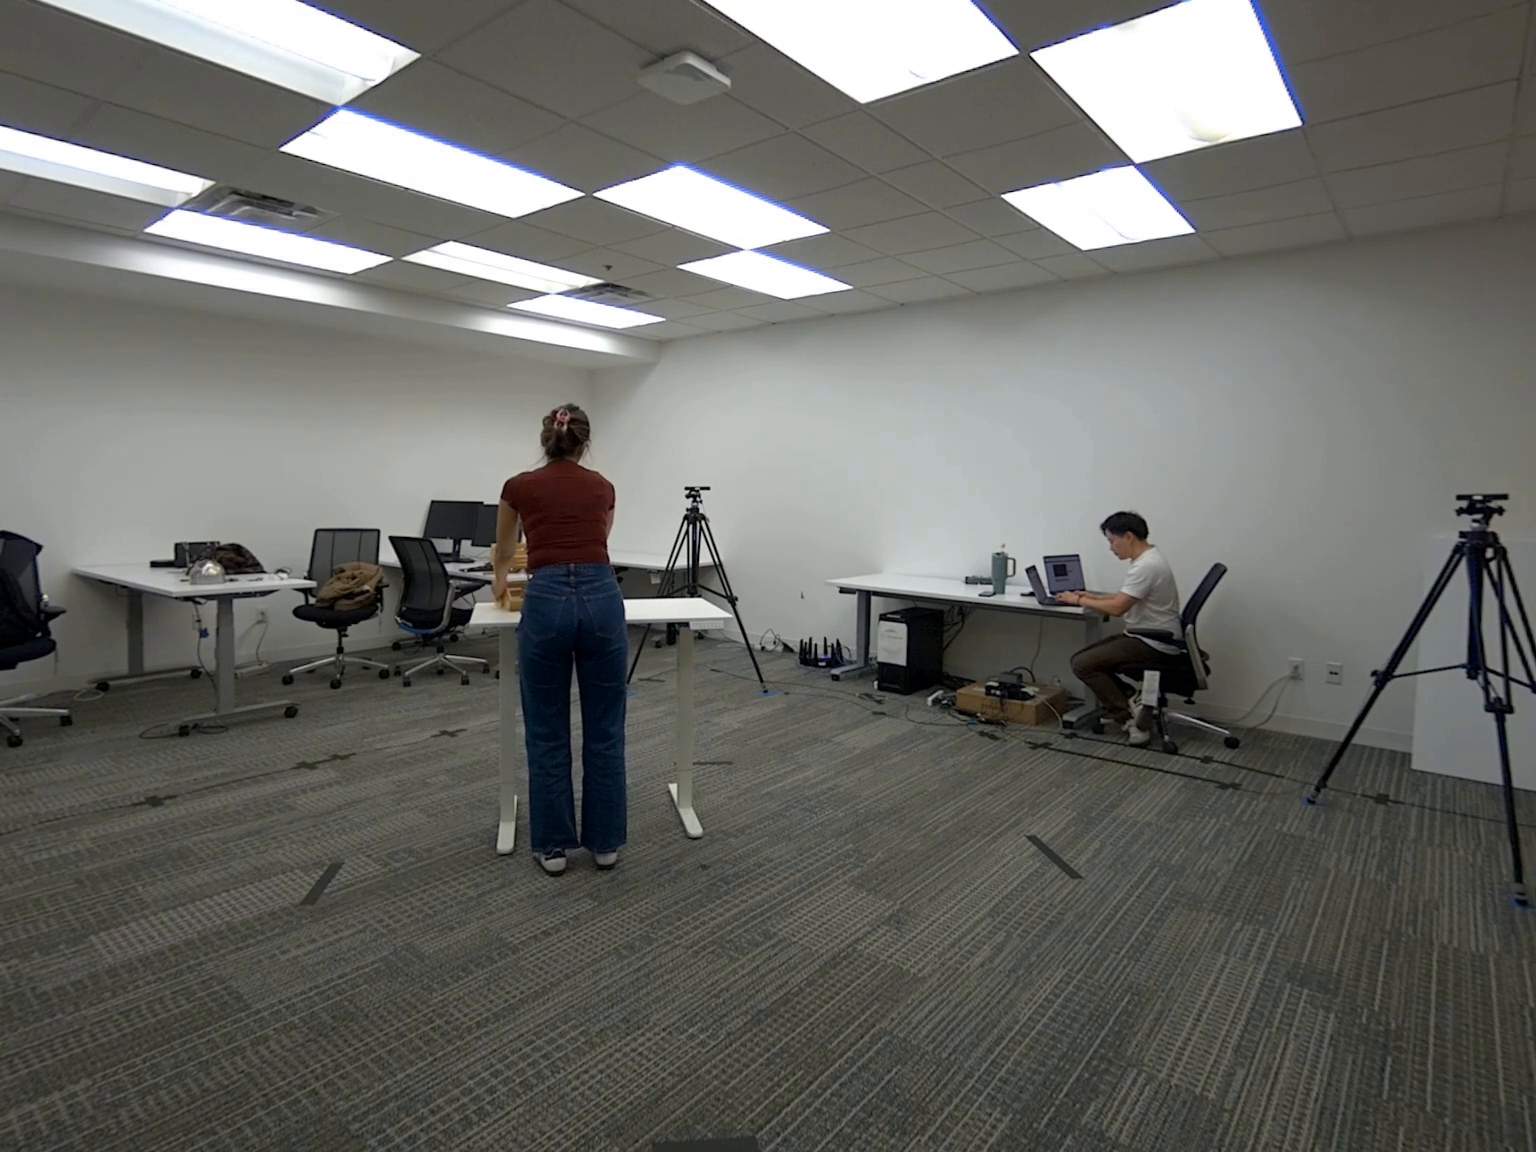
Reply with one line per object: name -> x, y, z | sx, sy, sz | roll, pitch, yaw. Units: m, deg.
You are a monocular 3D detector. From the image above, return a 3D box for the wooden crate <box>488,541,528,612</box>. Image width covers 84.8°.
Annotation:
wooden crate -> -1.003, -0.007, 3.620 | 0.316, 0.273, 0.311 | -2, 4, -31
